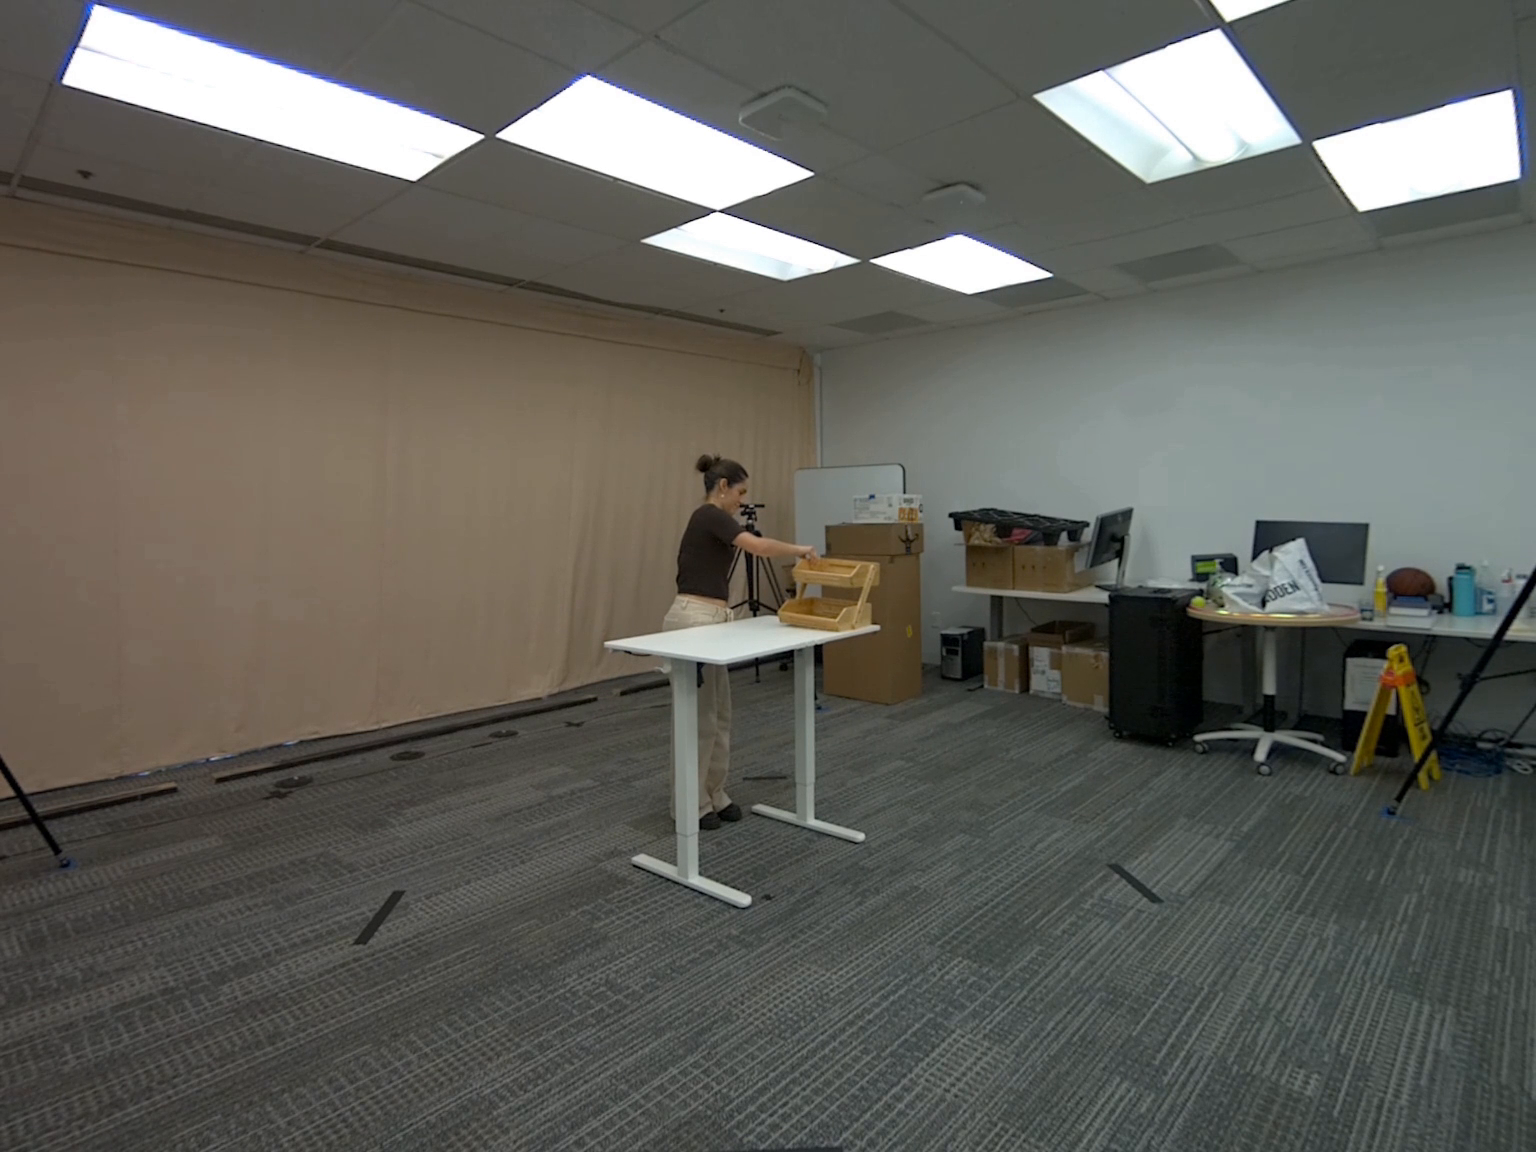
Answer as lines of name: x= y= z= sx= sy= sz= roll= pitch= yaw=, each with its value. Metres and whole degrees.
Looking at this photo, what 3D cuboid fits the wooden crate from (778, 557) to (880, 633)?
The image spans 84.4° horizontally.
wooden crate: x=0.255 y=0.068 z=3.524 sx=0.335 sy=0.272 sz=0.293 roll=6 pitch=6 yaw=40
